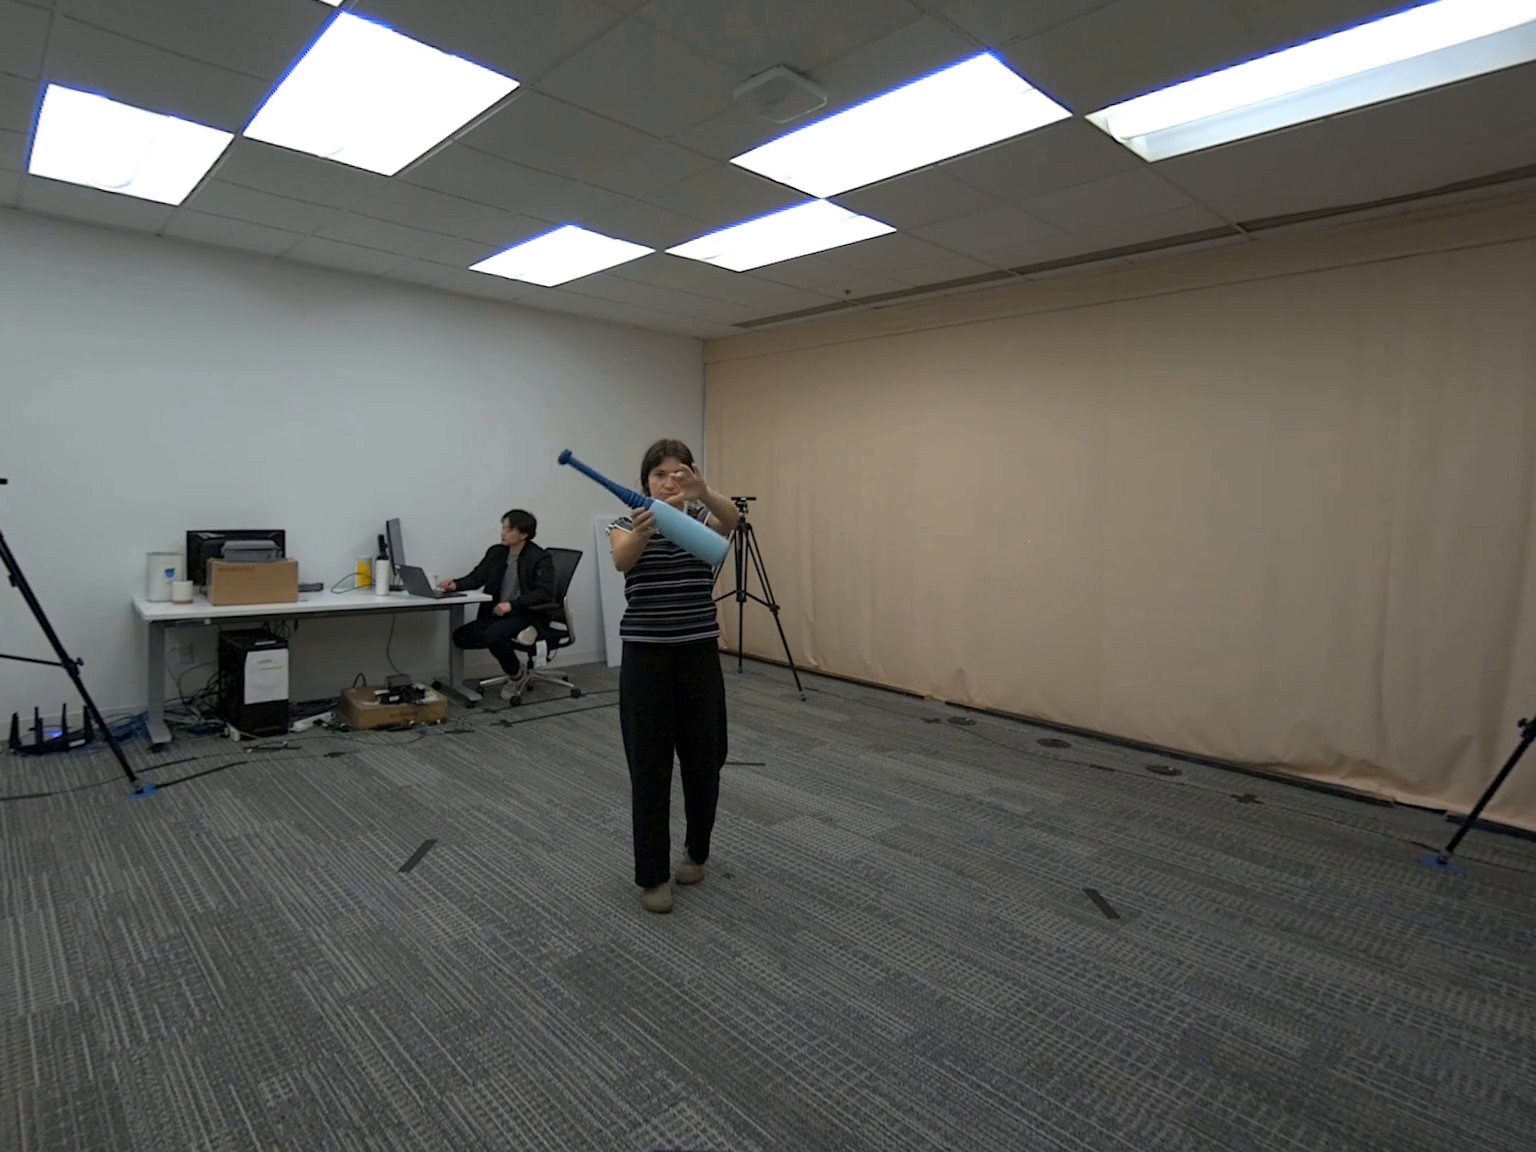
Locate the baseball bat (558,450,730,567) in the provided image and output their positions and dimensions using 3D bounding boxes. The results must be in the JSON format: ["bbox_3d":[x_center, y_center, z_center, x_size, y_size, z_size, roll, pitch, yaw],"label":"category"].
[{"bbox_3d":[-0.369,-0.197,2.366,0.542,0.089,0.089,33,3,-2],"label":"baseball bat"}]
